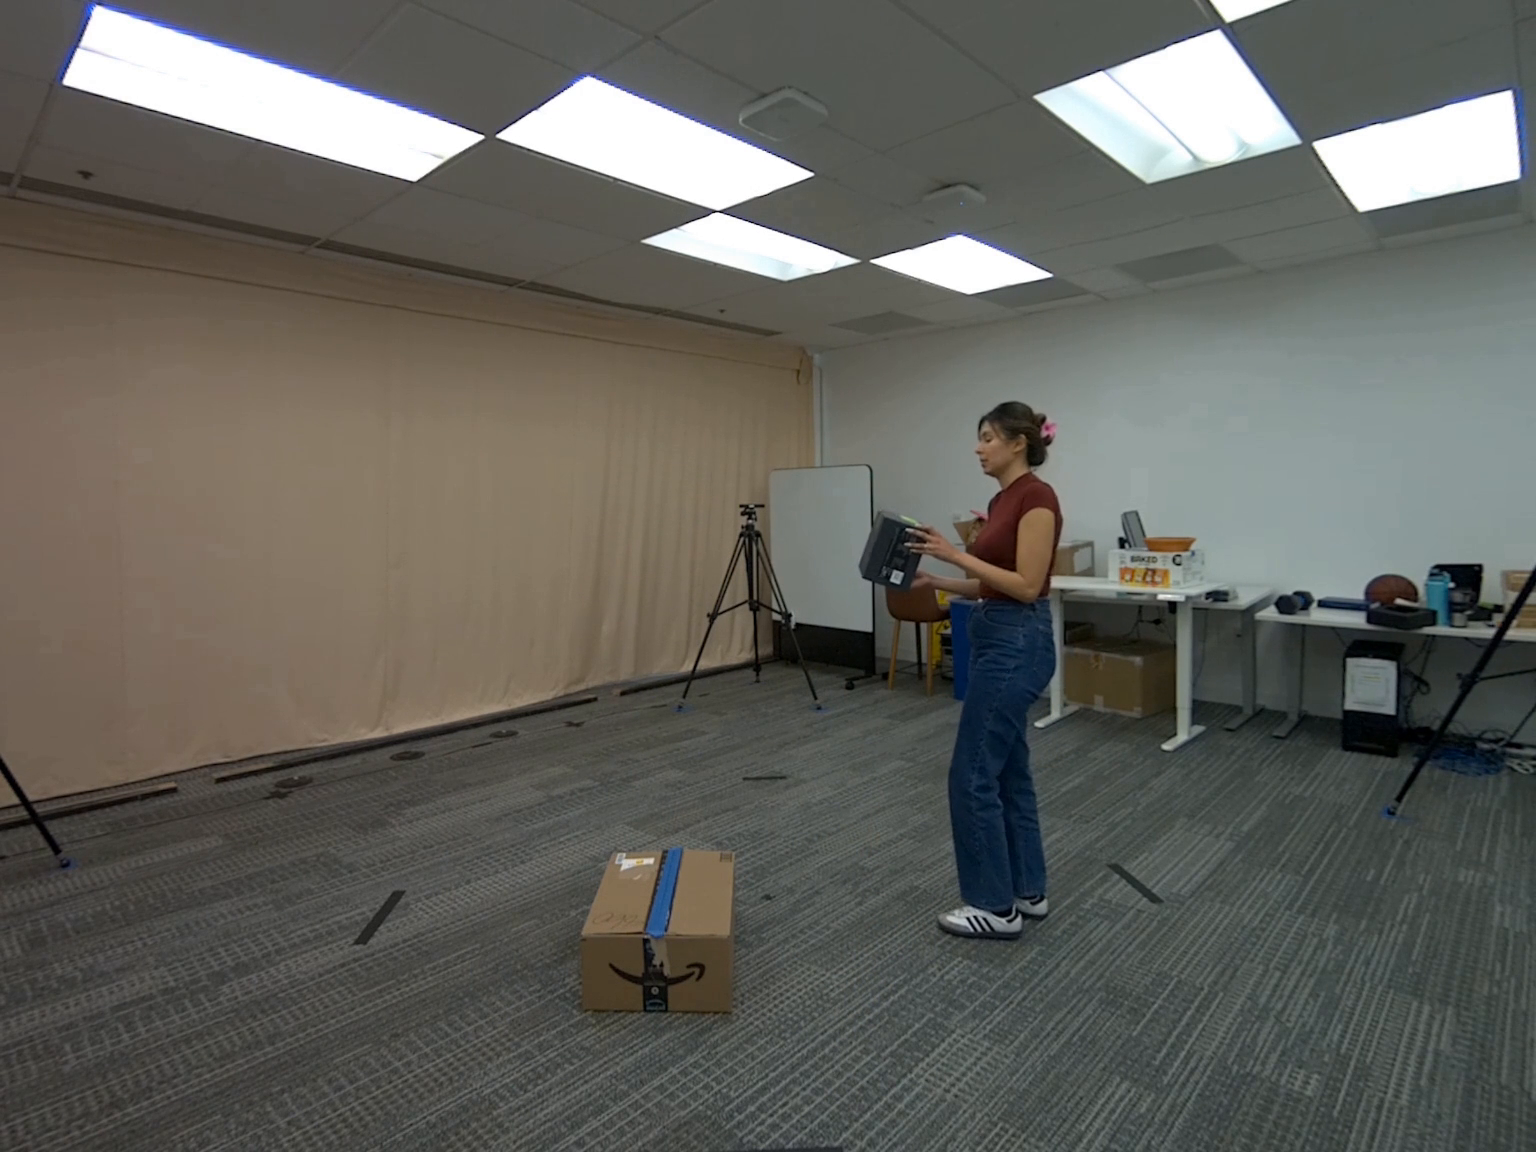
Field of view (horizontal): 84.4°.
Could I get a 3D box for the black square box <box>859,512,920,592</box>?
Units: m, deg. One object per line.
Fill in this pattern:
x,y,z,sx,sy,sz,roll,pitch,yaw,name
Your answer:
0.433,-0.094,2.823,0.156,0.216,0.229,10,11,0,black square box
